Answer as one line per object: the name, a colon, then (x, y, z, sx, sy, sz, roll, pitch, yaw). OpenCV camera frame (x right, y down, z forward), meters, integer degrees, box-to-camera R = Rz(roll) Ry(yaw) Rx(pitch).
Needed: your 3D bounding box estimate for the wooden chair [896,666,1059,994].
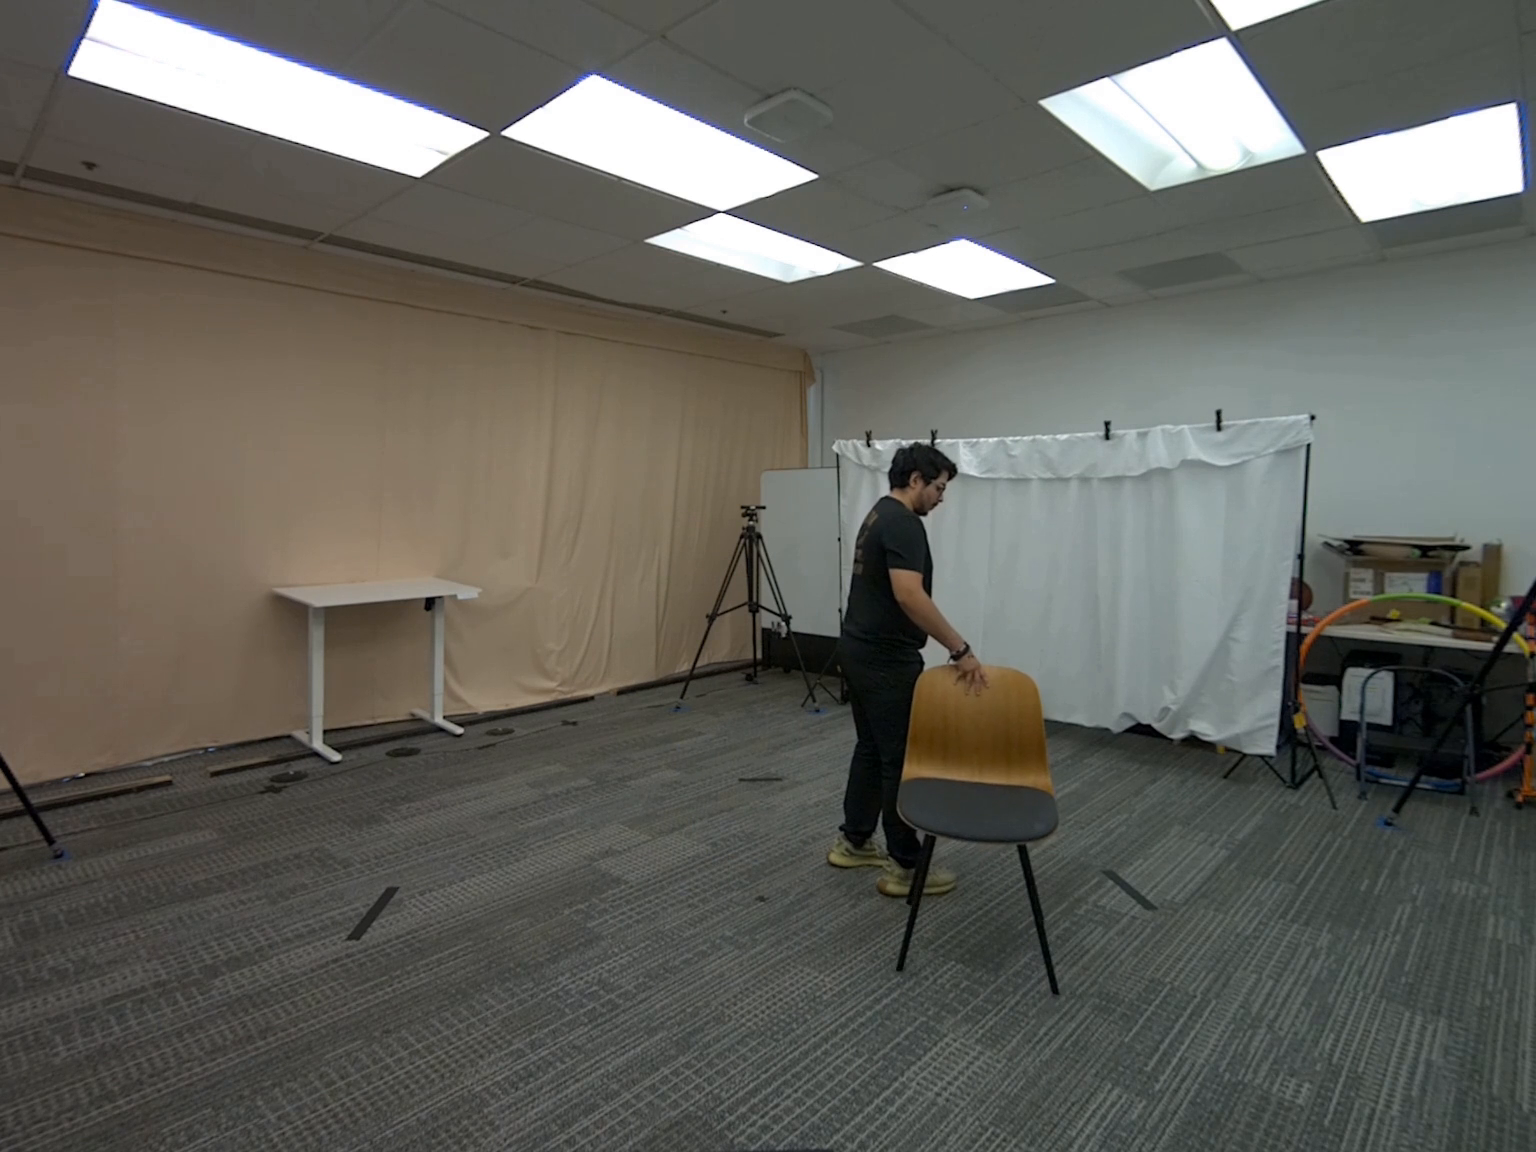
wooden chair: (0.661, 0.746, 2.628, 0.487, 0.878, 0.514, 1, -1, 16)
